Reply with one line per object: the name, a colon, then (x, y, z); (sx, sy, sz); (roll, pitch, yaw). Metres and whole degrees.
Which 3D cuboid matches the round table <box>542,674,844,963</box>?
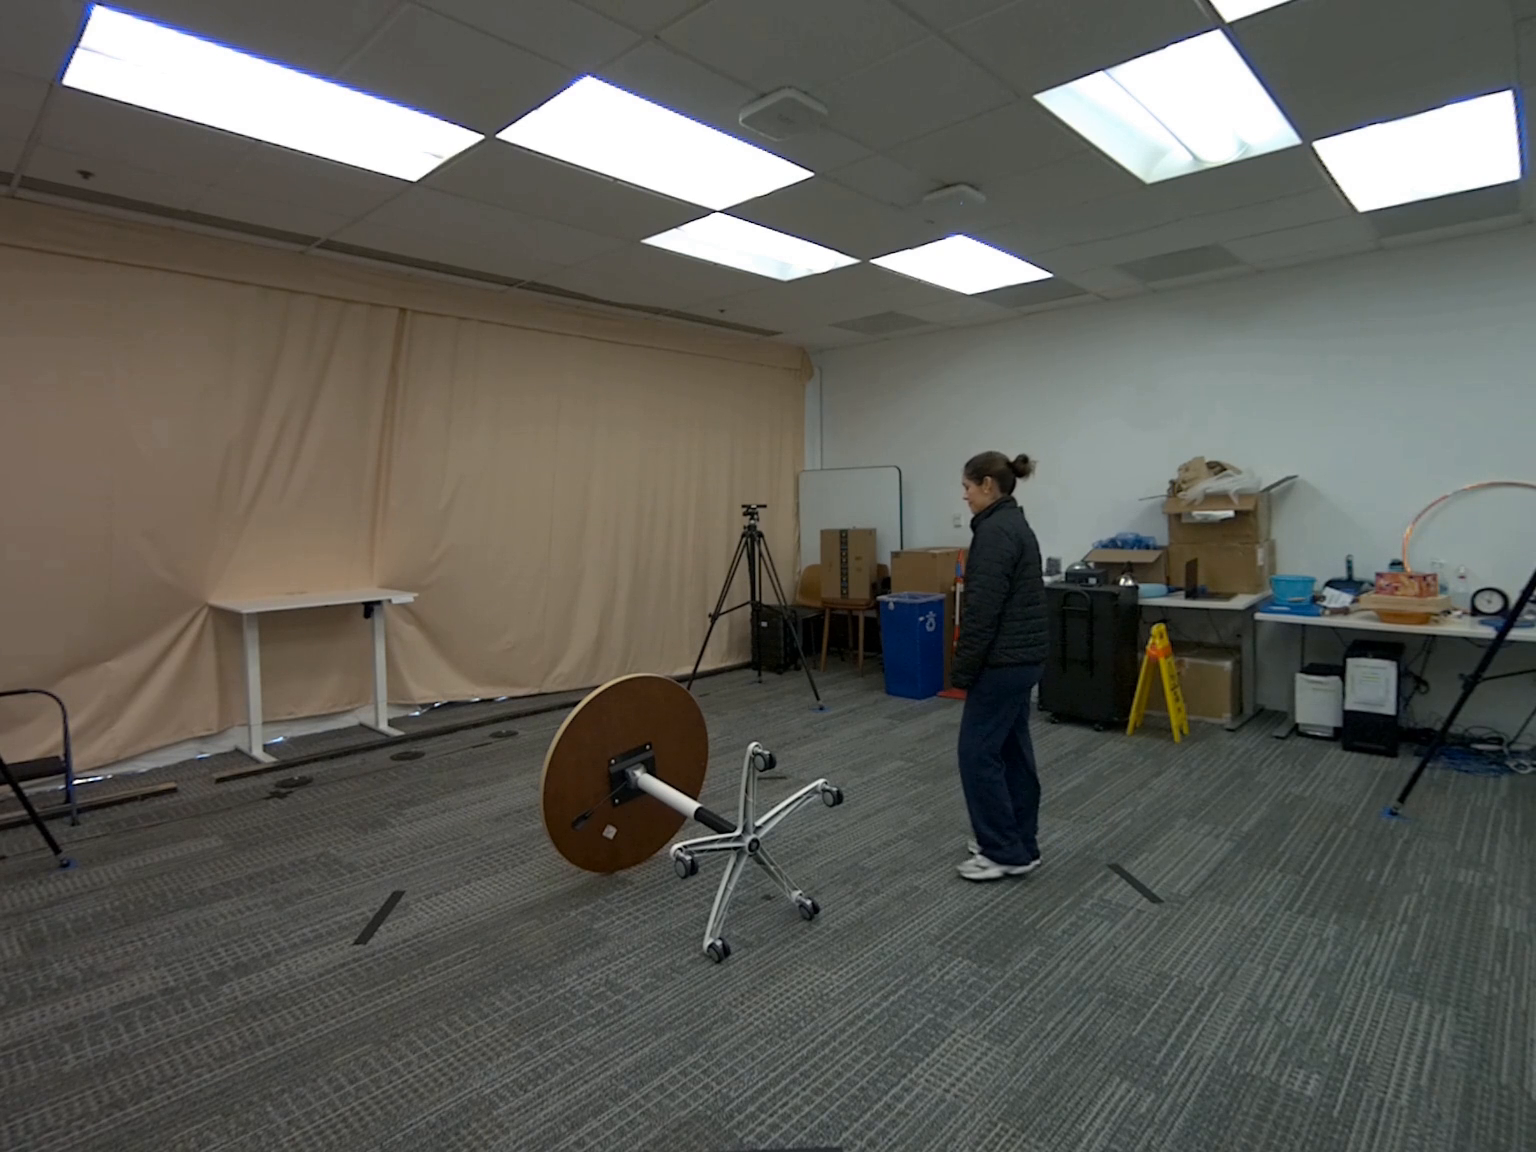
round table: (-0.249, 0.814, 2.926); (0.761, 0.781, 0.814); (-4, 10, -42)
